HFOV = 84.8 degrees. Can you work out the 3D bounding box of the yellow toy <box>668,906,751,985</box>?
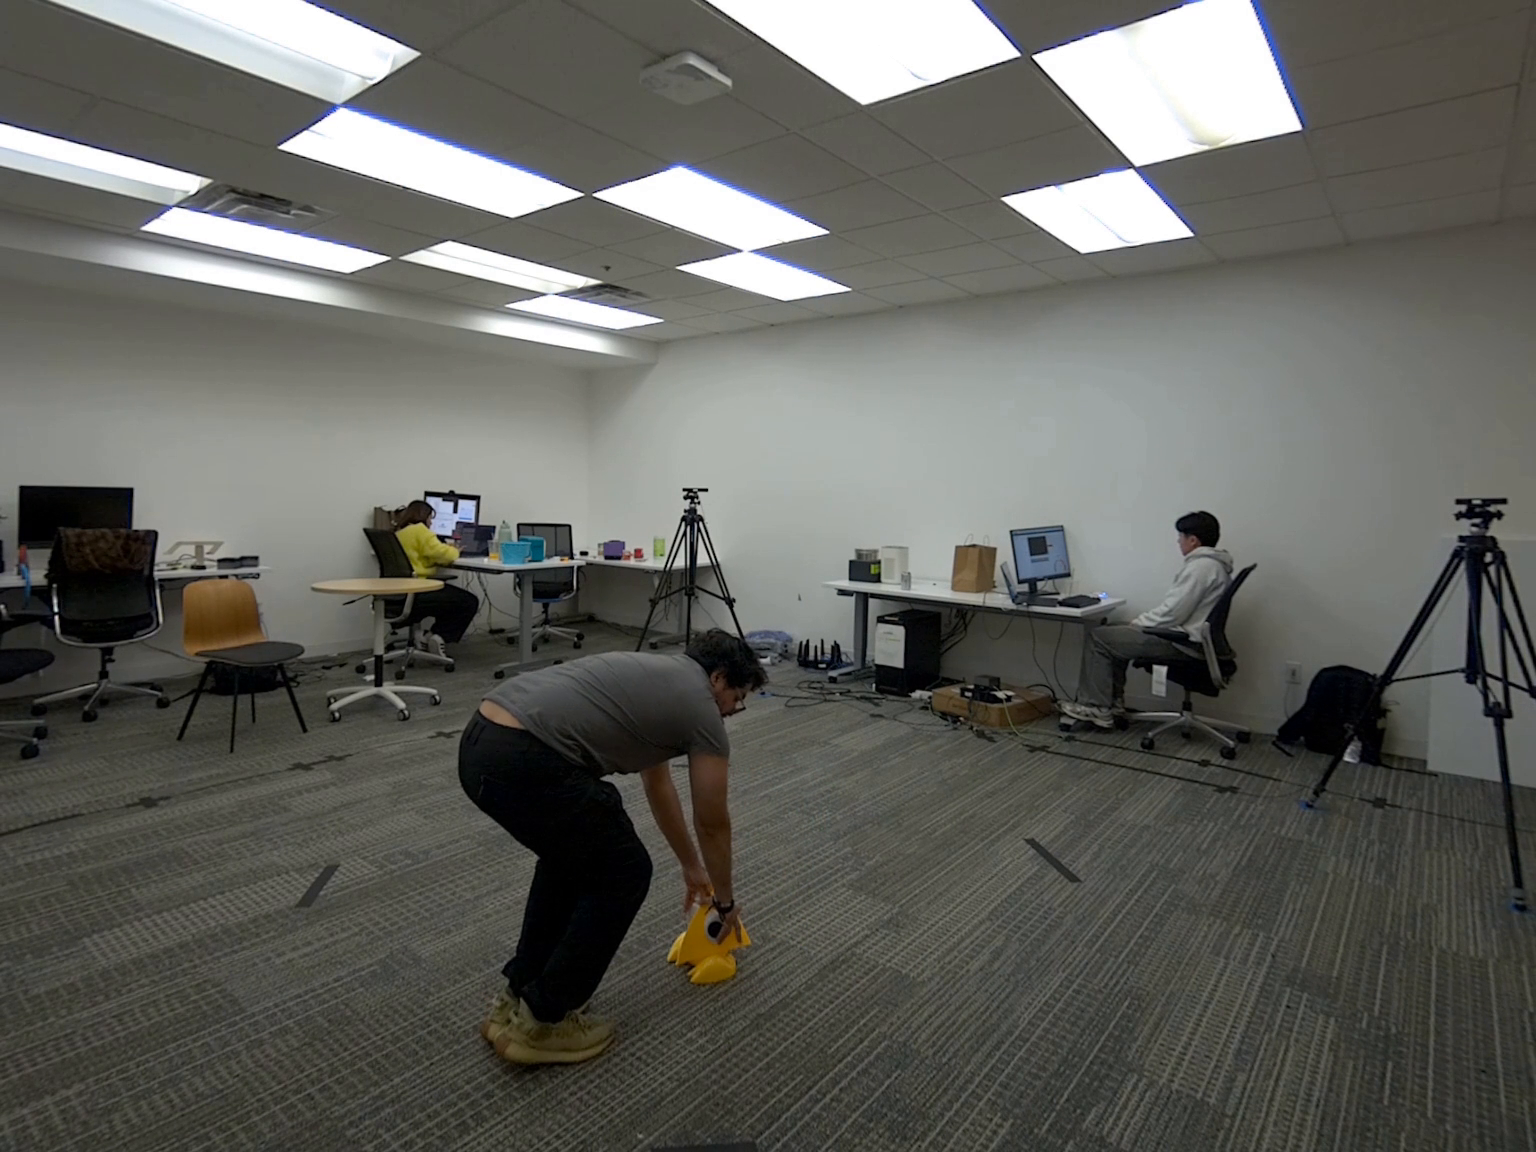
[{"bbox_3d":[-0.186,1.019,2.486,0.187,0.230,0.211,-1,5,-36],"label":"yellow toy"}]
